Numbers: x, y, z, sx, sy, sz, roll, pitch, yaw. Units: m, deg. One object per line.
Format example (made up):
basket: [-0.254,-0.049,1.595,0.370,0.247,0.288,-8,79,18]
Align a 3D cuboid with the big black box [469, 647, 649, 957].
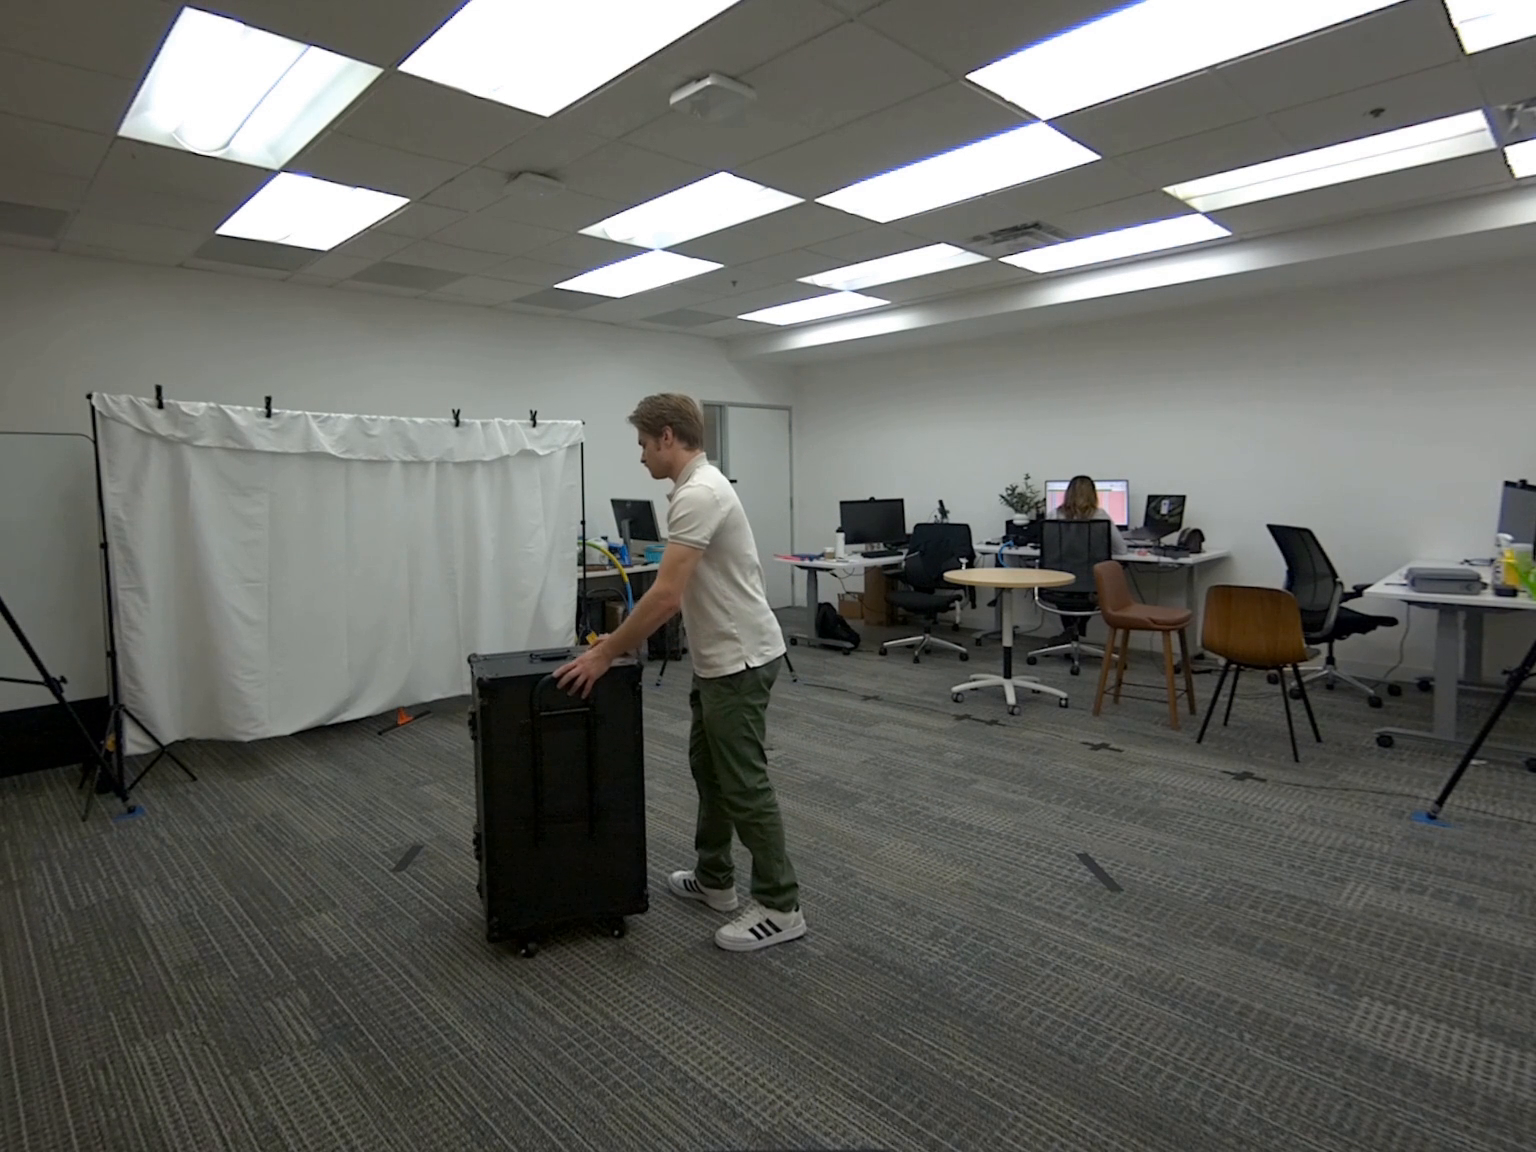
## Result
big black box: [-0.653,0.683,2.692,0.513,0.865,0.394,-3,5,-22]
